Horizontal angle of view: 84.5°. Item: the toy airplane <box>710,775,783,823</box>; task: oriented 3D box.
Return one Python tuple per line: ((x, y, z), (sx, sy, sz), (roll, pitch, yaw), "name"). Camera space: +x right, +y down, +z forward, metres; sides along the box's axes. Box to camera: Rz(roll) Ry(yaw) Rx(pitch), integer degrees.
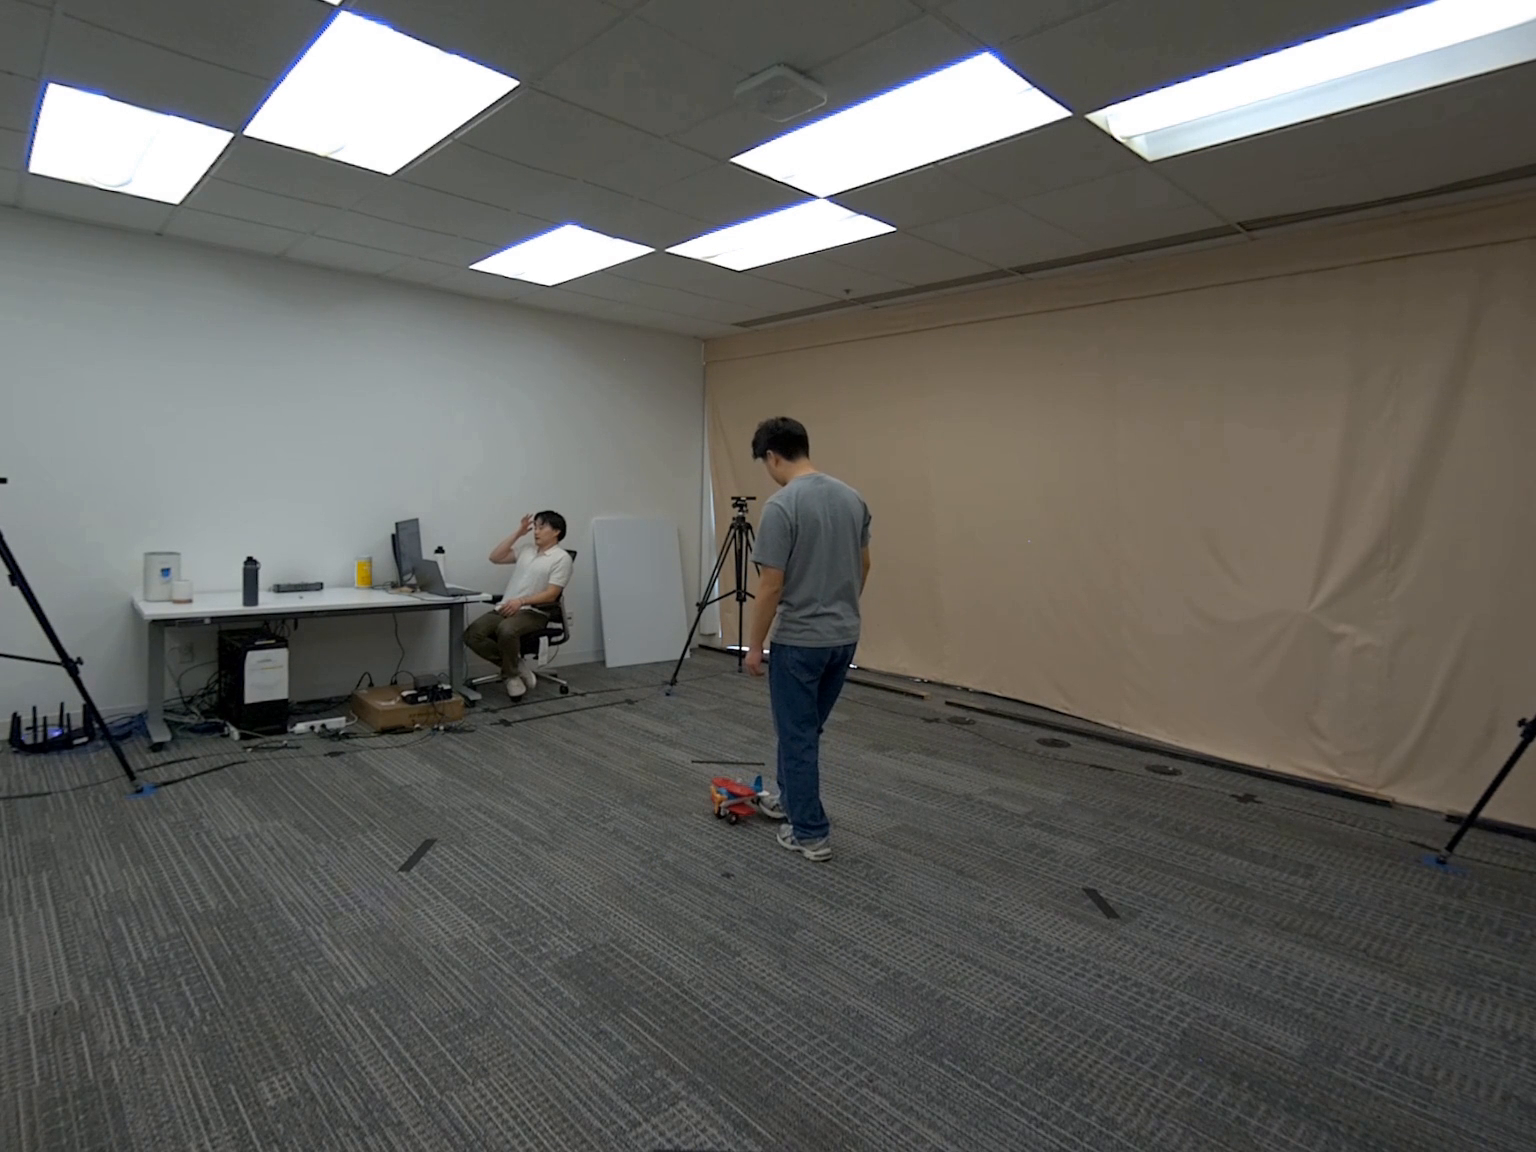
((-0.142, 0.960, 3.686), (0.255, 0.155, 0.258), (-3, 14, 21), "toy airplane")
